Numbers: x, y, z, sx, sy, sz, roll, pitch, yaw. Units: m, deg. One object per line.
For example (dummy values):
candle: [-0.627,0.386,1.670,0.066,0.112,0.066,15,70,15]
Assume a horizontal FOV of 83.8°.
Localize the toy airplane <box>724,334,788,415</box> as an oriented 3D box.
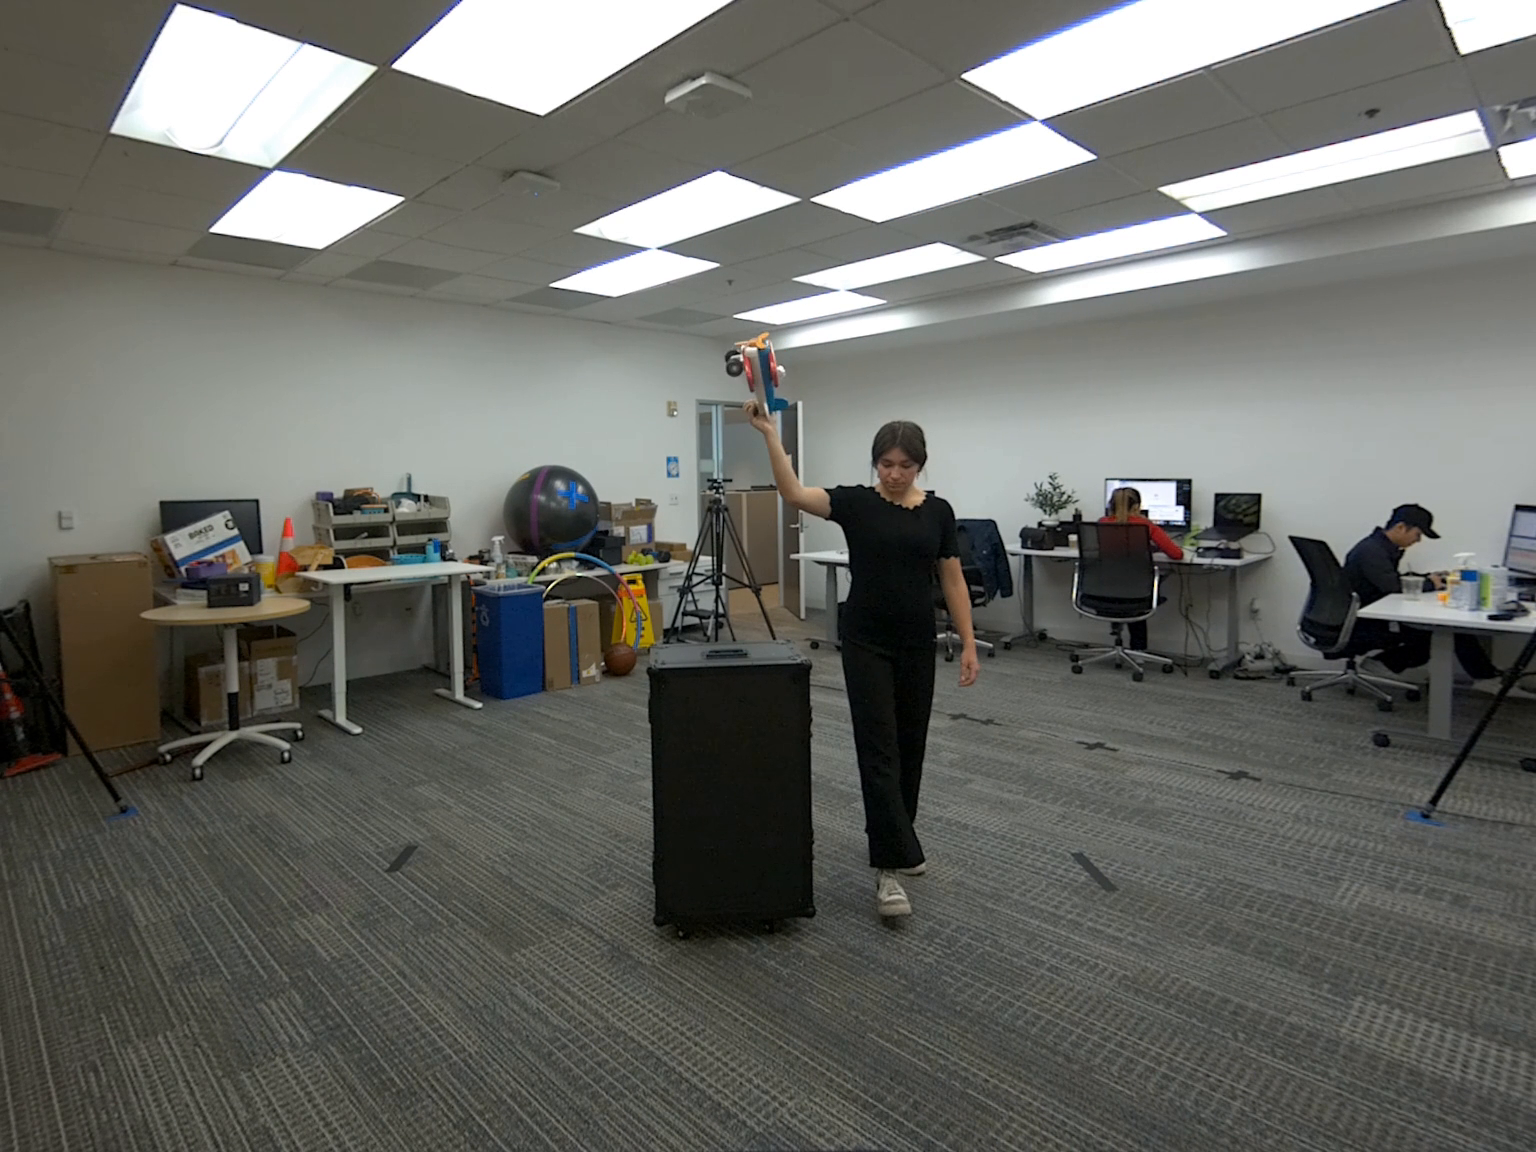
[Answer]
toy airplane: [-0.030,-0.643,2.739,0.157,0.258,0.250,-21,-28,12]
